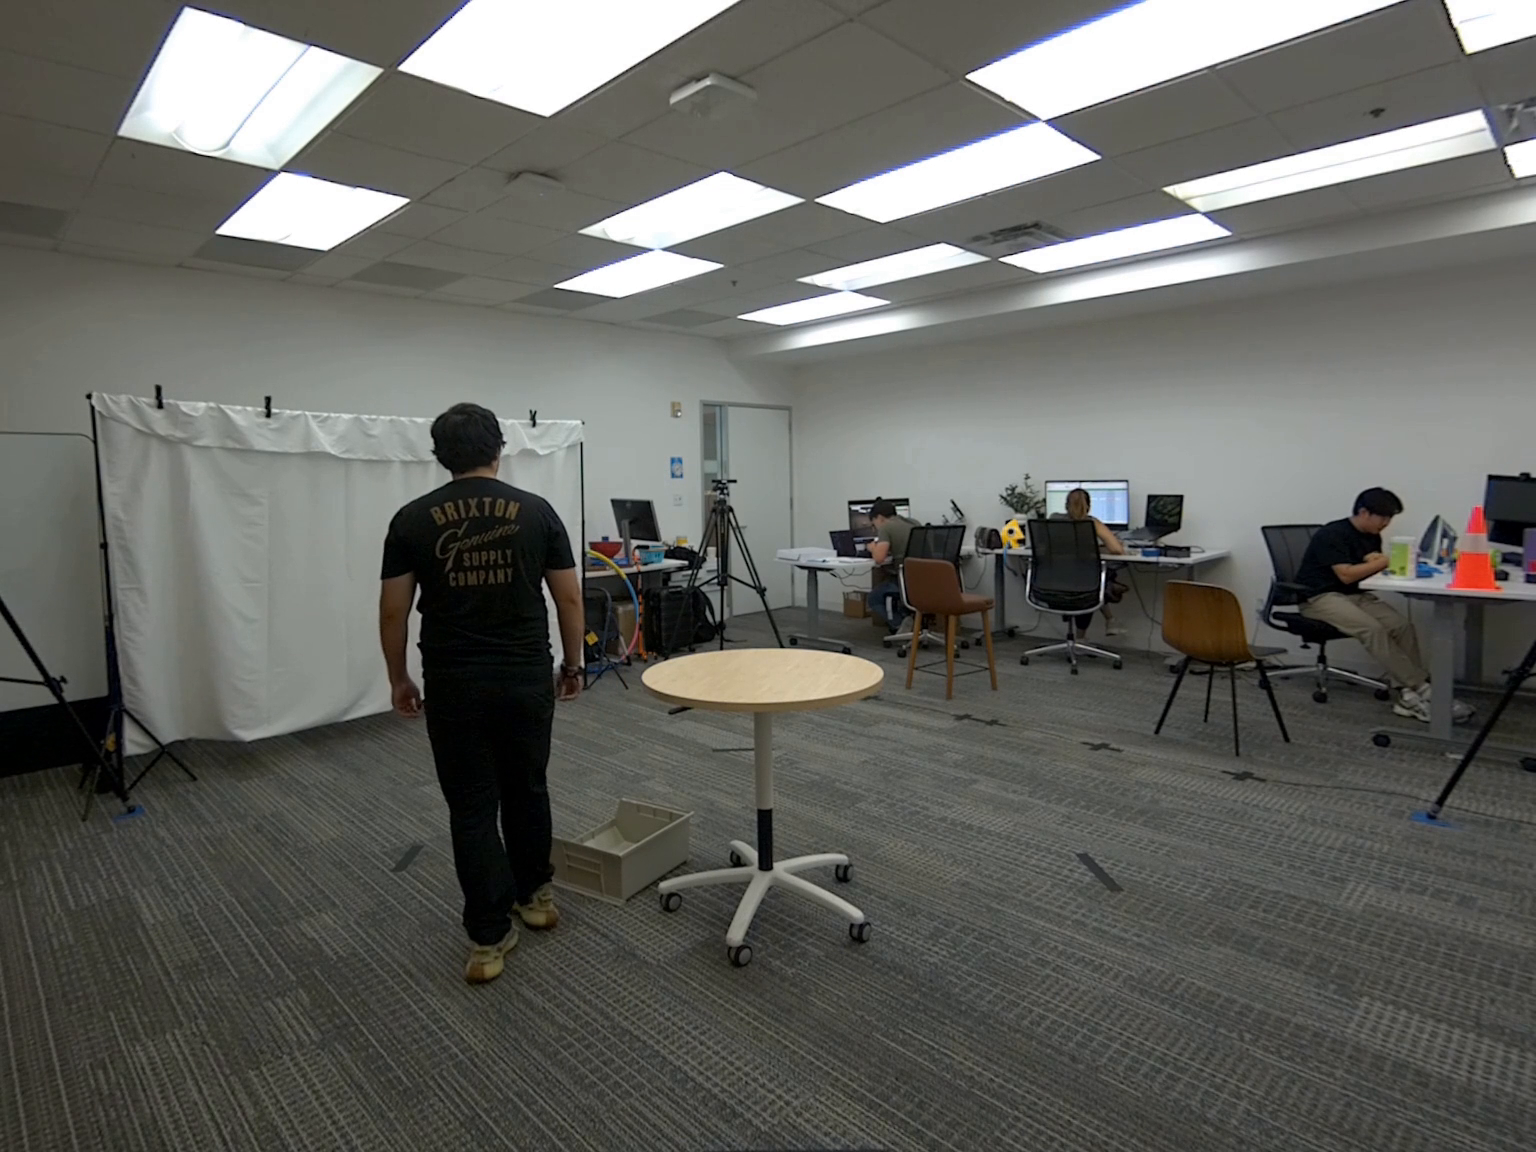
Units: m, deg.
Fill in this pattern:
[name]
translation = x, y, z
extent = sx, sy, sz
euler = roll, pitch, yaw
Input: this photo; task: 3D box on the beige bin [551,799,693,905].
[beige bin]
translation = -0.535, 0.973, 3.071
extent = 0.388, 0.188, 0.413
euler = 3, 7, 31
